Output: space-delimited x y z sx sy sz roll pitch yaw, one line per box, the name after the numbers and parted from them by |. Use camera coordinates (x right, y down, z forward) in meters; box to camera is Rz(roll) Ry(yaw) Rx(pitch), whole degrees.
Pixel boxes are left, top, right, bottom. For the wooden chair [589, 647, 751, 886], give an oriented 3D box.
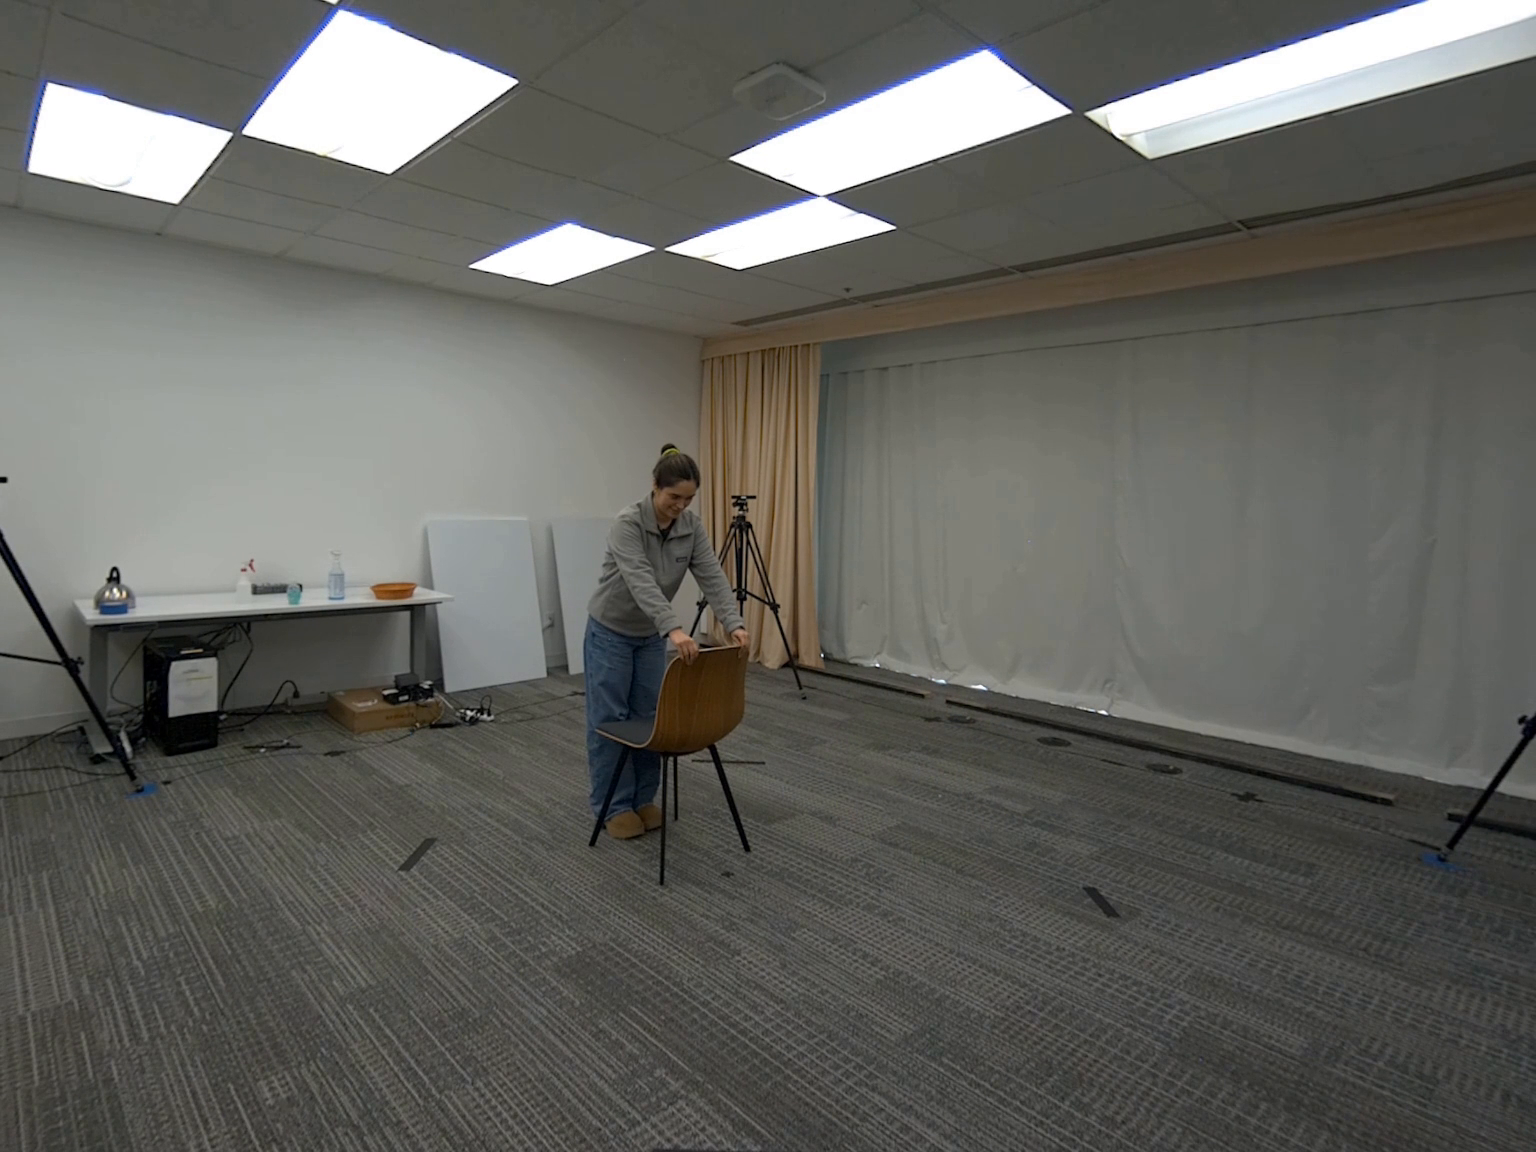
-0.384 0.654 3.286 0.467 0.874 0.537 -2 9 -45 | wooden chair
